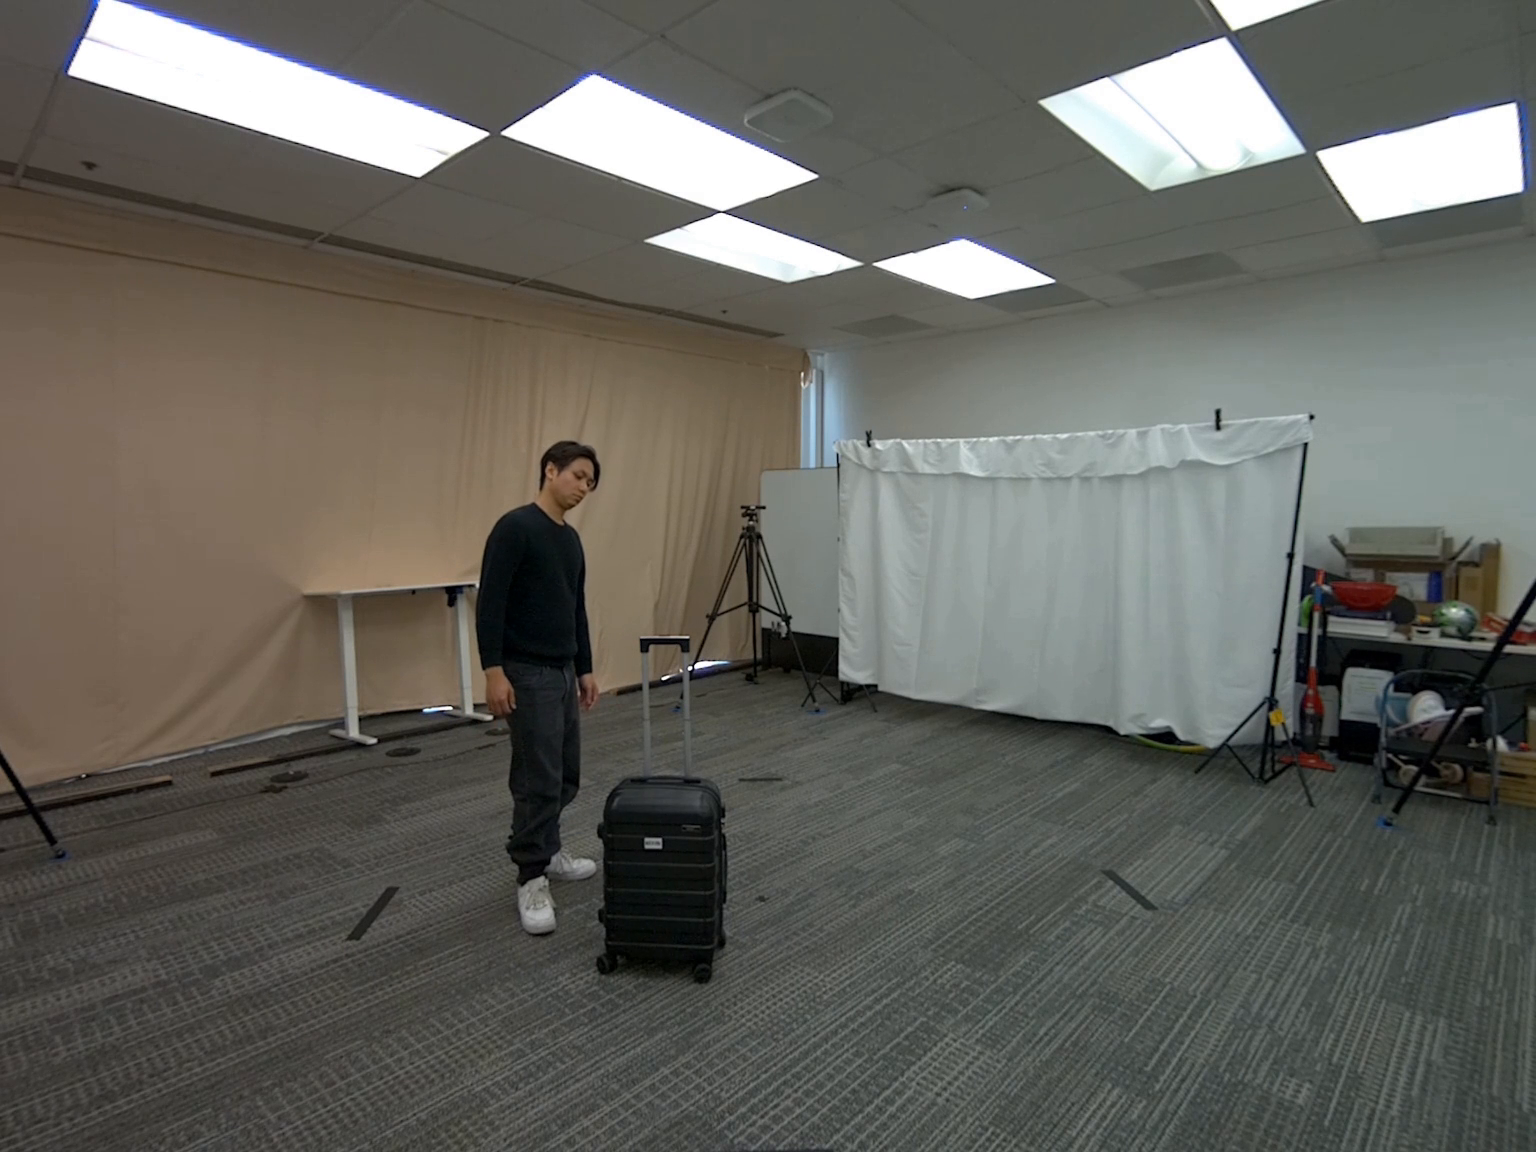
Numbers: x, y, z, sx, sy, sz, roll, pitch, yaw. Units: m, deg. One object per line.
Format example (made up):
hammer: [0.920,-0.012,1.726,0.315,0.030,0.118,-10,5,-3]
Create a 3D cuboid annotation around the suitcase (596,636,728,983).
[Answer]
suitcase: [-0.321,0.700,2.564,0.386,0.976,0.256,-1,4,4]
